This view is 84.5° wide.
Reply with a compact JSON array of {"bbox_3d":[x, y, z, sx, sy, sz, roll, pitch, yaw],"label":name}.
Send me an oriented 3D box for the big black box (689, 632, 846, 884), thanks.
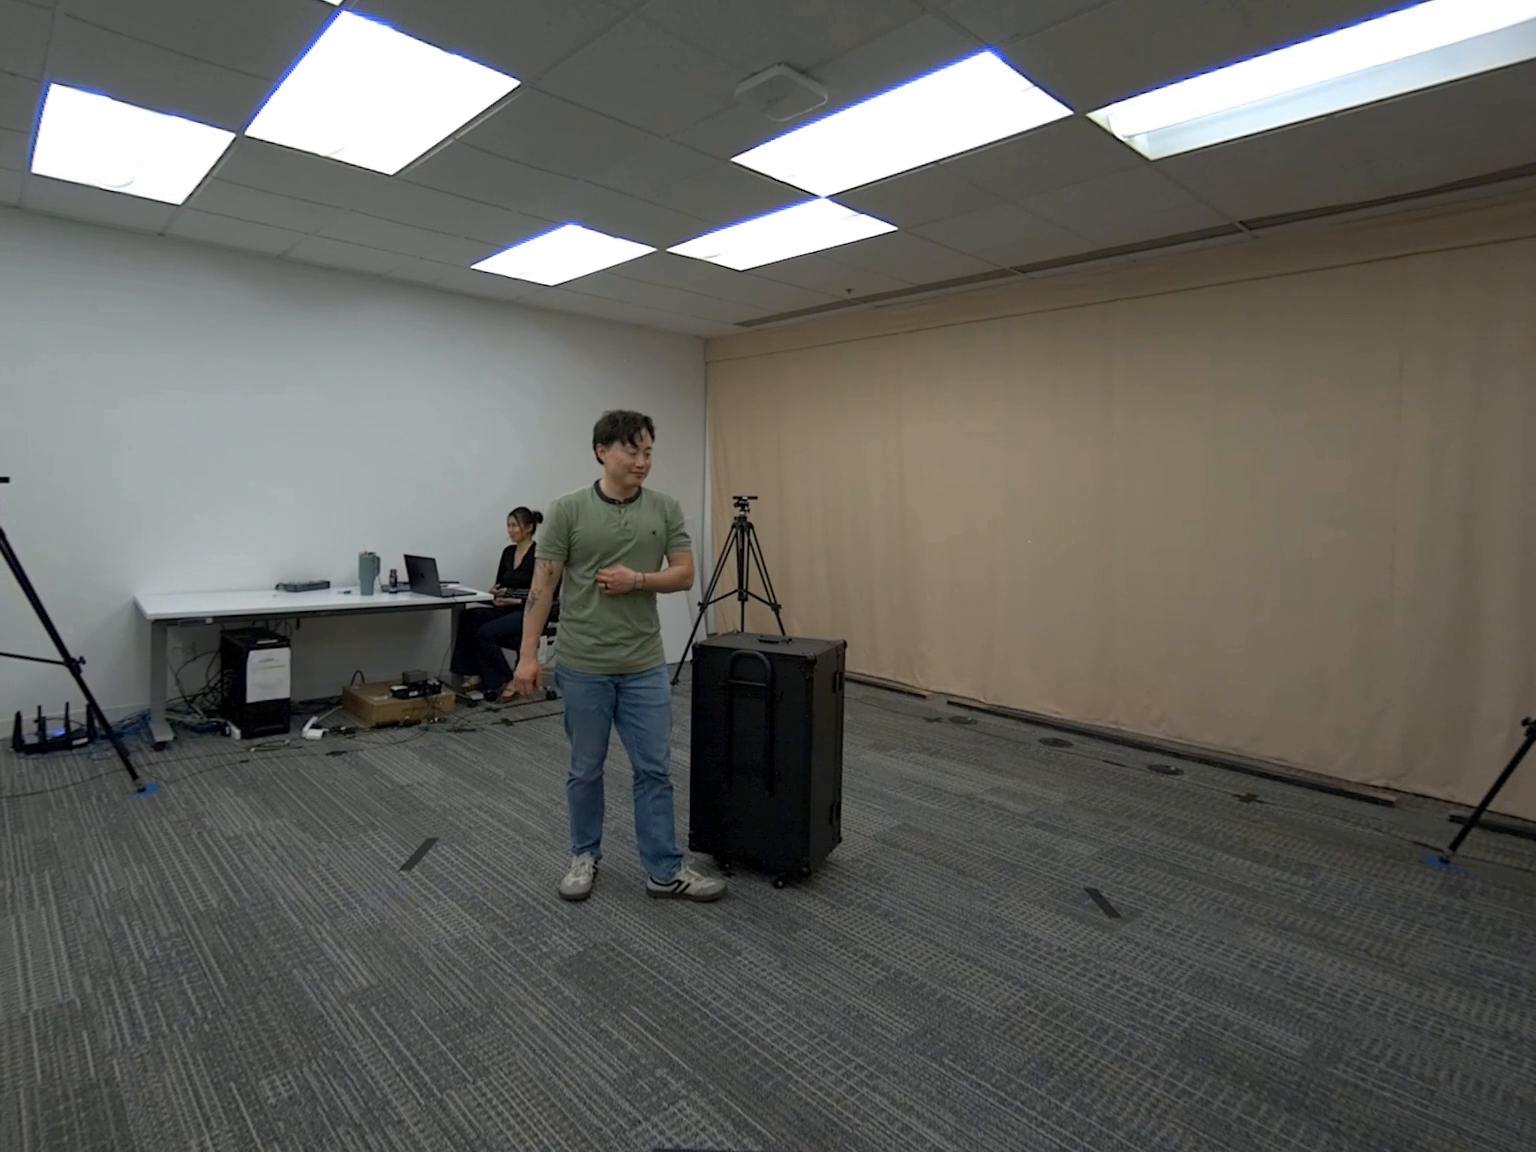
[{"bbox_3d":[-0.004,0.672,3.169,0.531,0.859,0.389,3,4,26],"label":"big black box"}]
